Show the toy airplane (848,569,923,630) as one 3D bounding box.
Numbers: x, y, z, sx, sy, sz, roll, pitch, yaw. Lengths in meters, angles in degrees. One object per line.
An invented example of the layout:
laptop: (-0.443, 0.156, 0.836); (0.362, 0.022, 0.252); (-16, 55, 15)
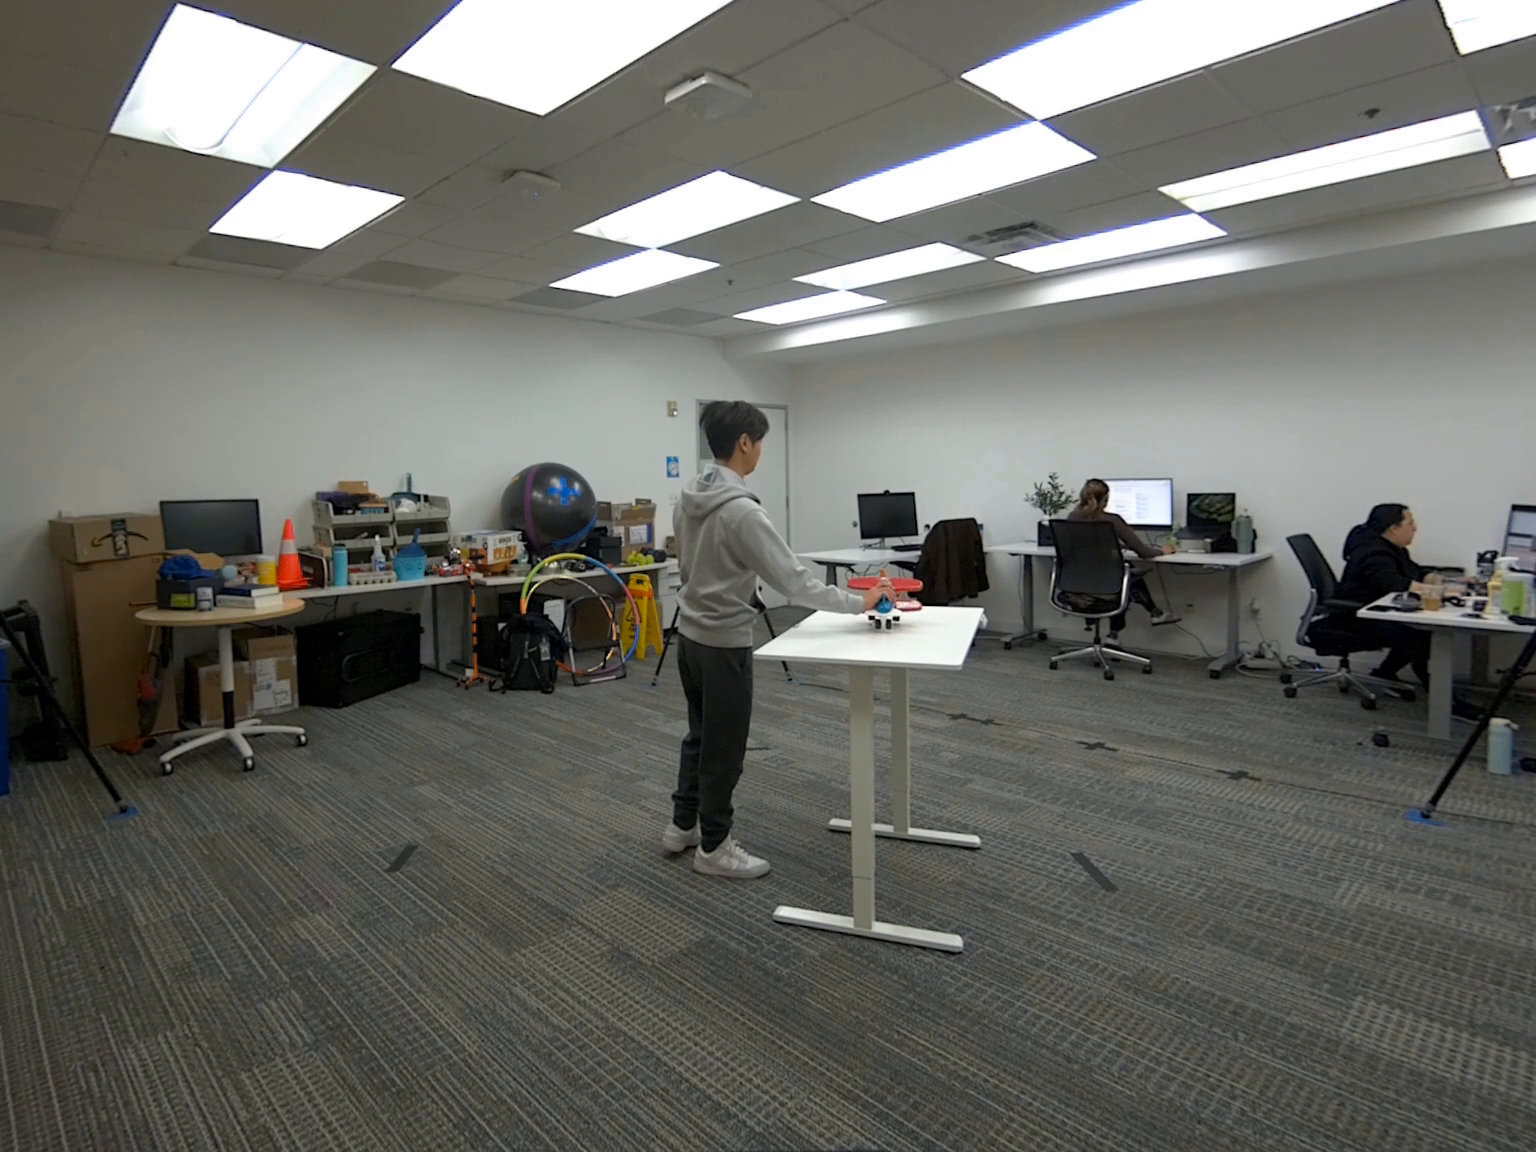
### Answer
toy airplane: (0.418, 0.080, 2.912); (0.247, 0.155, 0.264); (-2, 7, -16)
